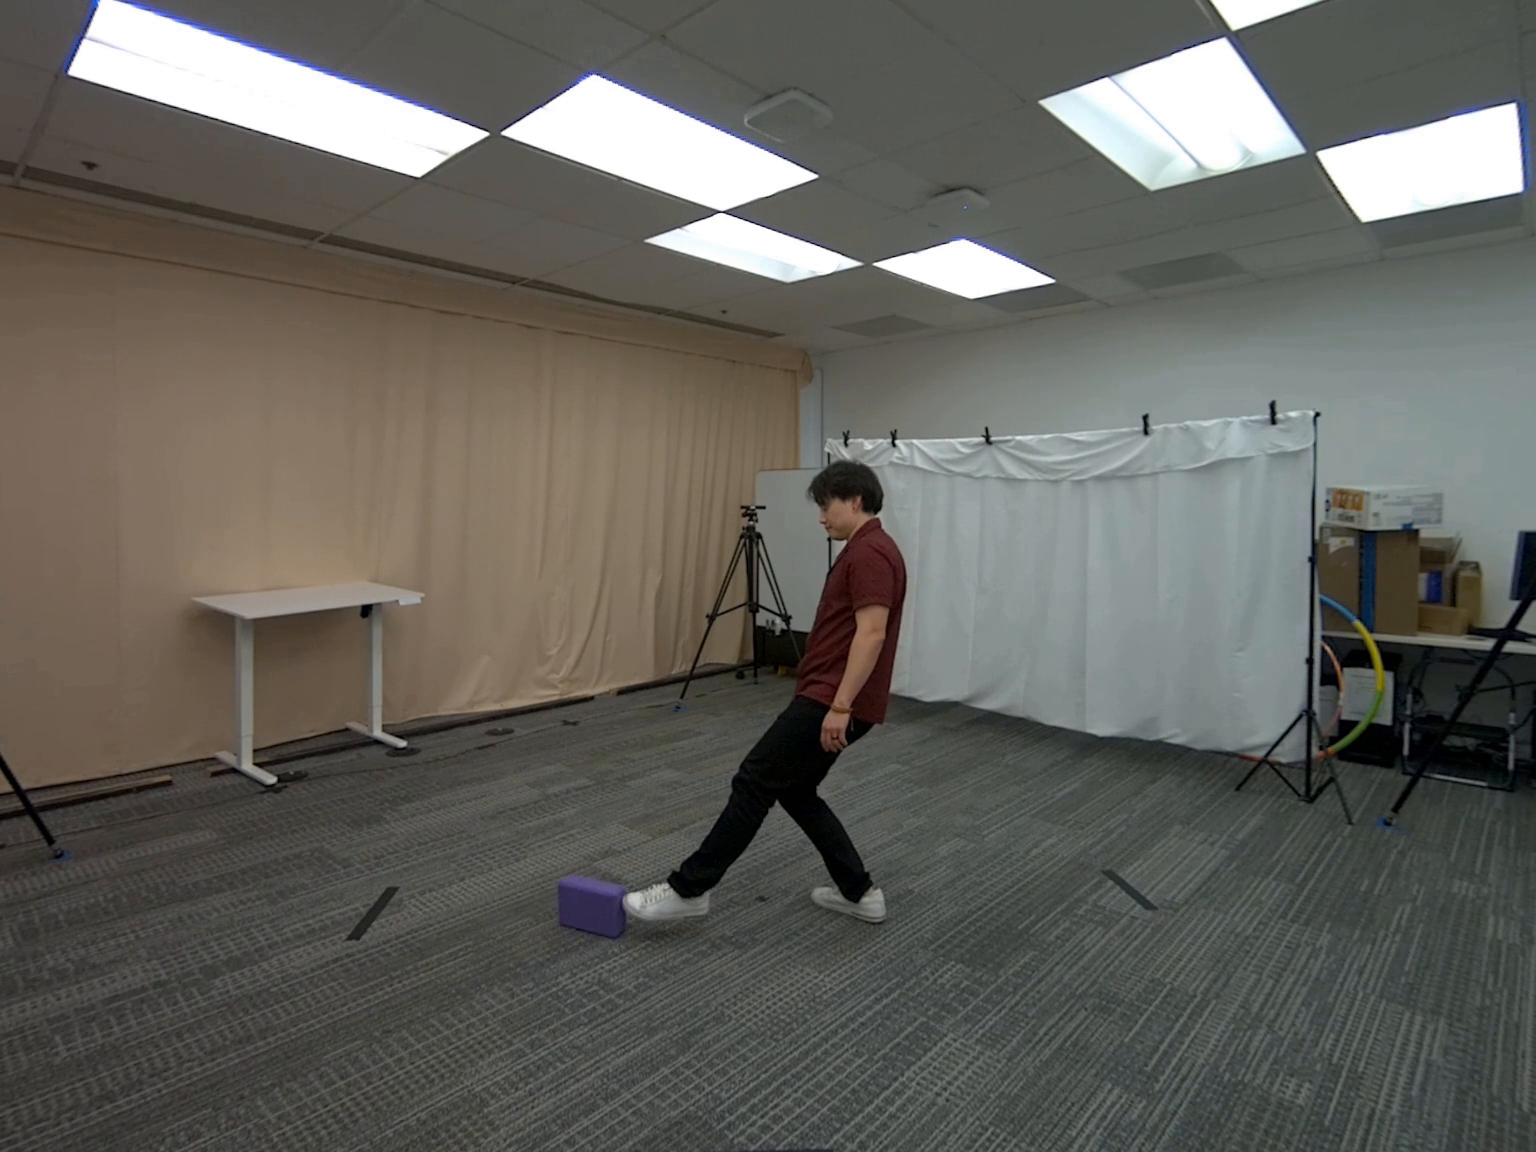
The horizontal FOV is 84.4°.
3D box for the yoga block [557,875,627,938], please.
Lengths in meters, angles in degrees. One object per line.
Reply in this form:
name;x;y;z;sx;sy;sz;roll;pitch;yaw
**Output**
yoga block;-0.581;1.089;2.780;0.235;0.149;0.075;1;2;24
